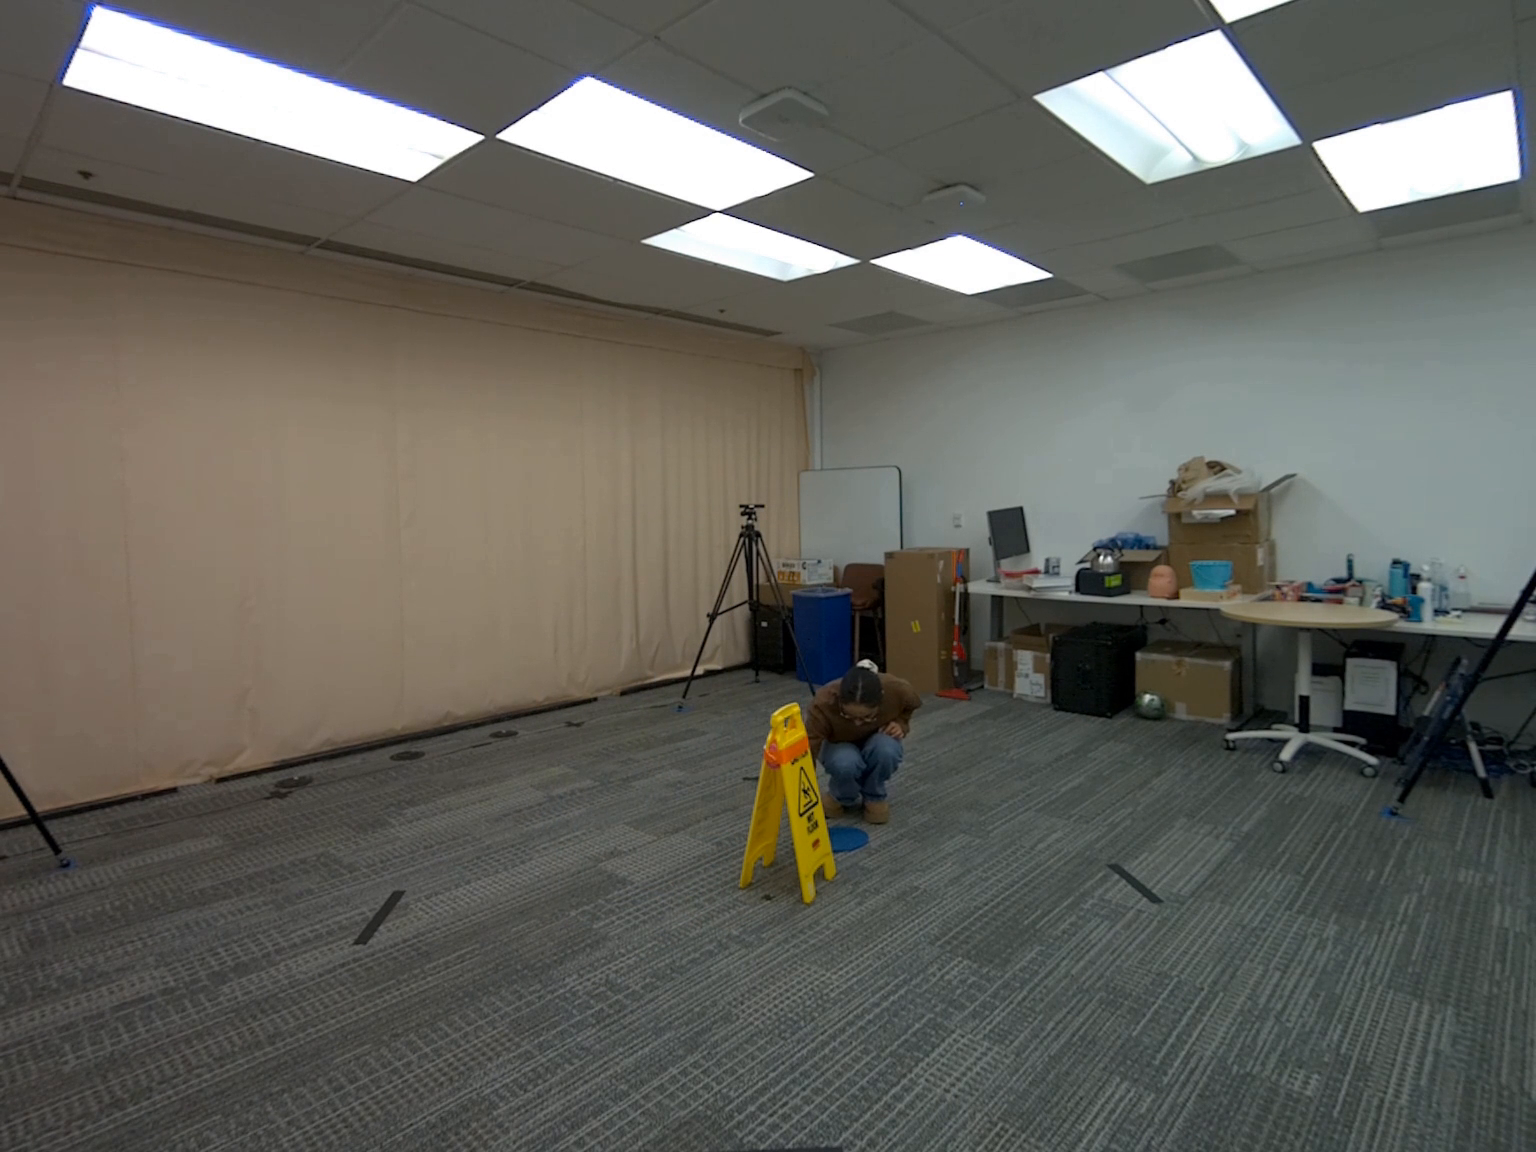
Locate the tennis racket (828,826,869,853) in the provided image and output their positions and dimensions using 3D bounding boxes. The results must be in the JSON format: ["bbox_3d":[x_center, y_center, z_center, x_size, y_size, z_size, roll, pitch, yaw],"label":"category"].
[{"bbox_3d":[0.256,1.078,3.416,0.220,0.032,0.420,3,5,35],"label":"tennis racket"}]
